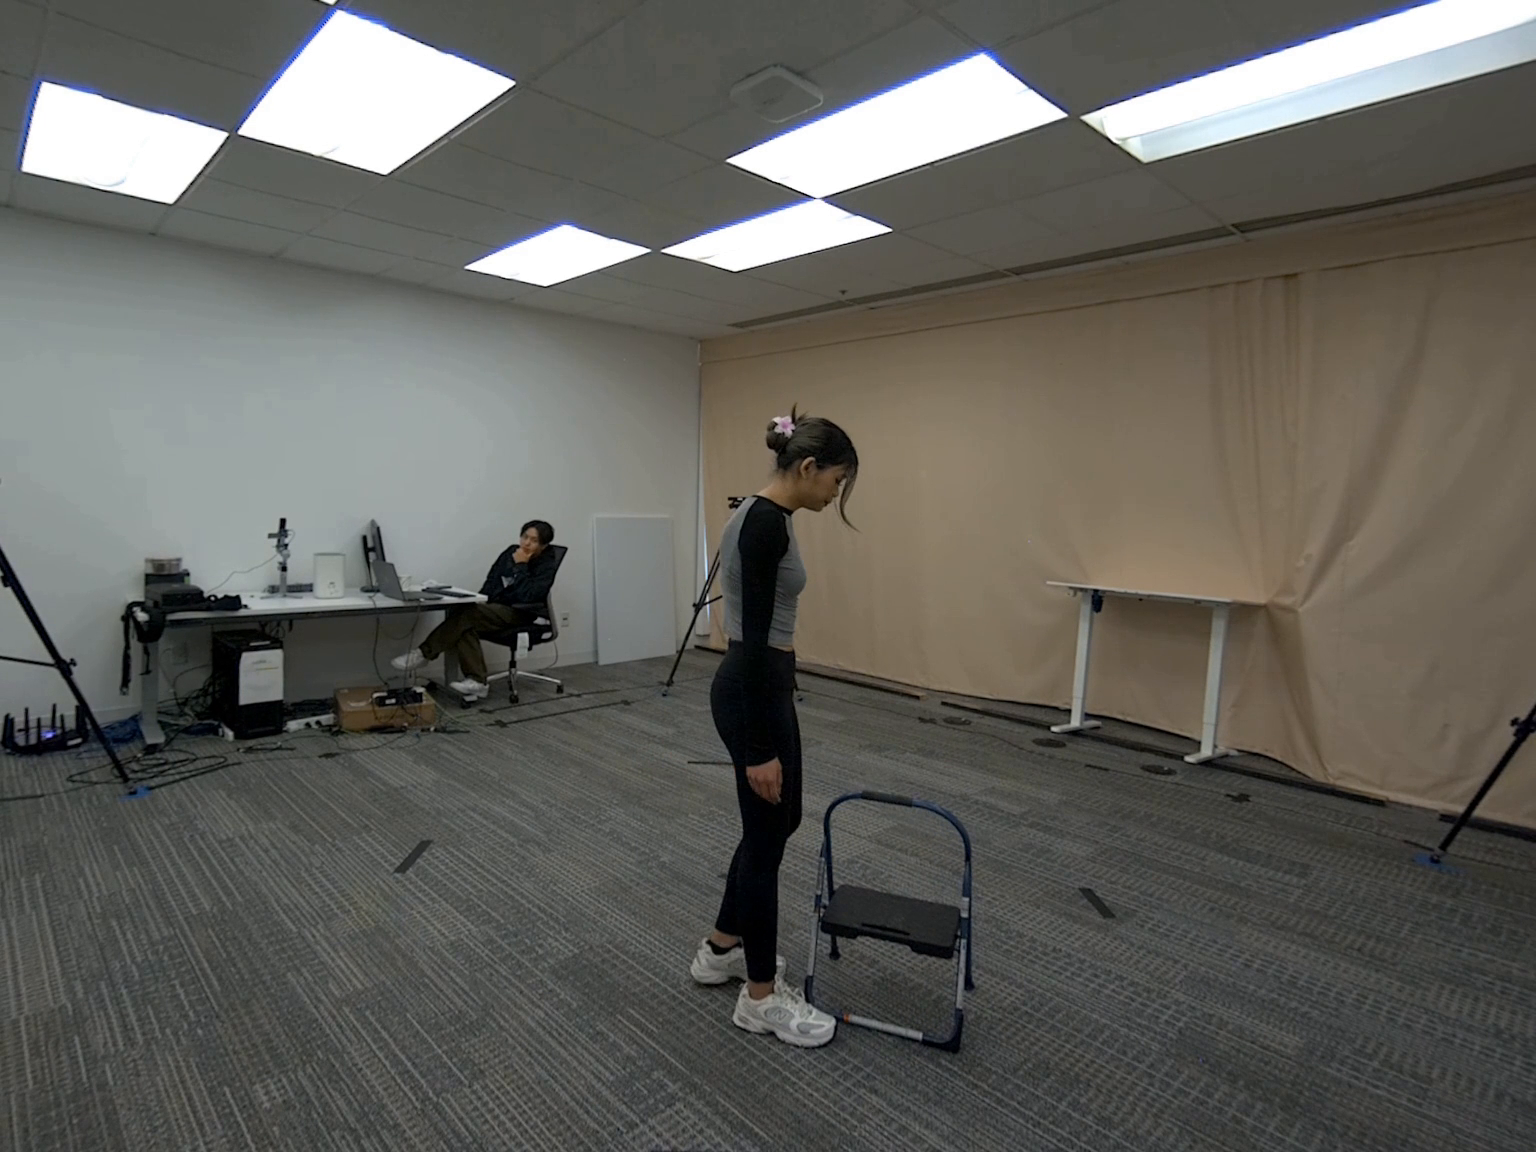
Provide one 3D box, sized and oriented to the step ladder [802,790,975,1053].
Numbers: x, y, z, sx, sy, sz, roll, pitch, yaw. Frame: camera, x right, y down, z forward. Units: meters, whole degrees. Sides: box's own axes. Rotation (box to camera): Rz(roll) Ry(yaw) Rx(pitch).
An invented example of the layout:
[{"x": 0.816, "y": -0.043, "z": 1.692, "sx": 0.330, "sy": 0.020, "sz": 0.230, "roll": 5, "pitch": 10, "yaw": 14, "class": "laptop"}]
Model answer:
[{"x": 0.352, "y": 0.895, "z": 2.346, "sx": 0.437, "sy": 0.604, "sz": 0.345, "roll": 3, "pitch": 4, "yaw": 19, "class": "step ladder"}]
